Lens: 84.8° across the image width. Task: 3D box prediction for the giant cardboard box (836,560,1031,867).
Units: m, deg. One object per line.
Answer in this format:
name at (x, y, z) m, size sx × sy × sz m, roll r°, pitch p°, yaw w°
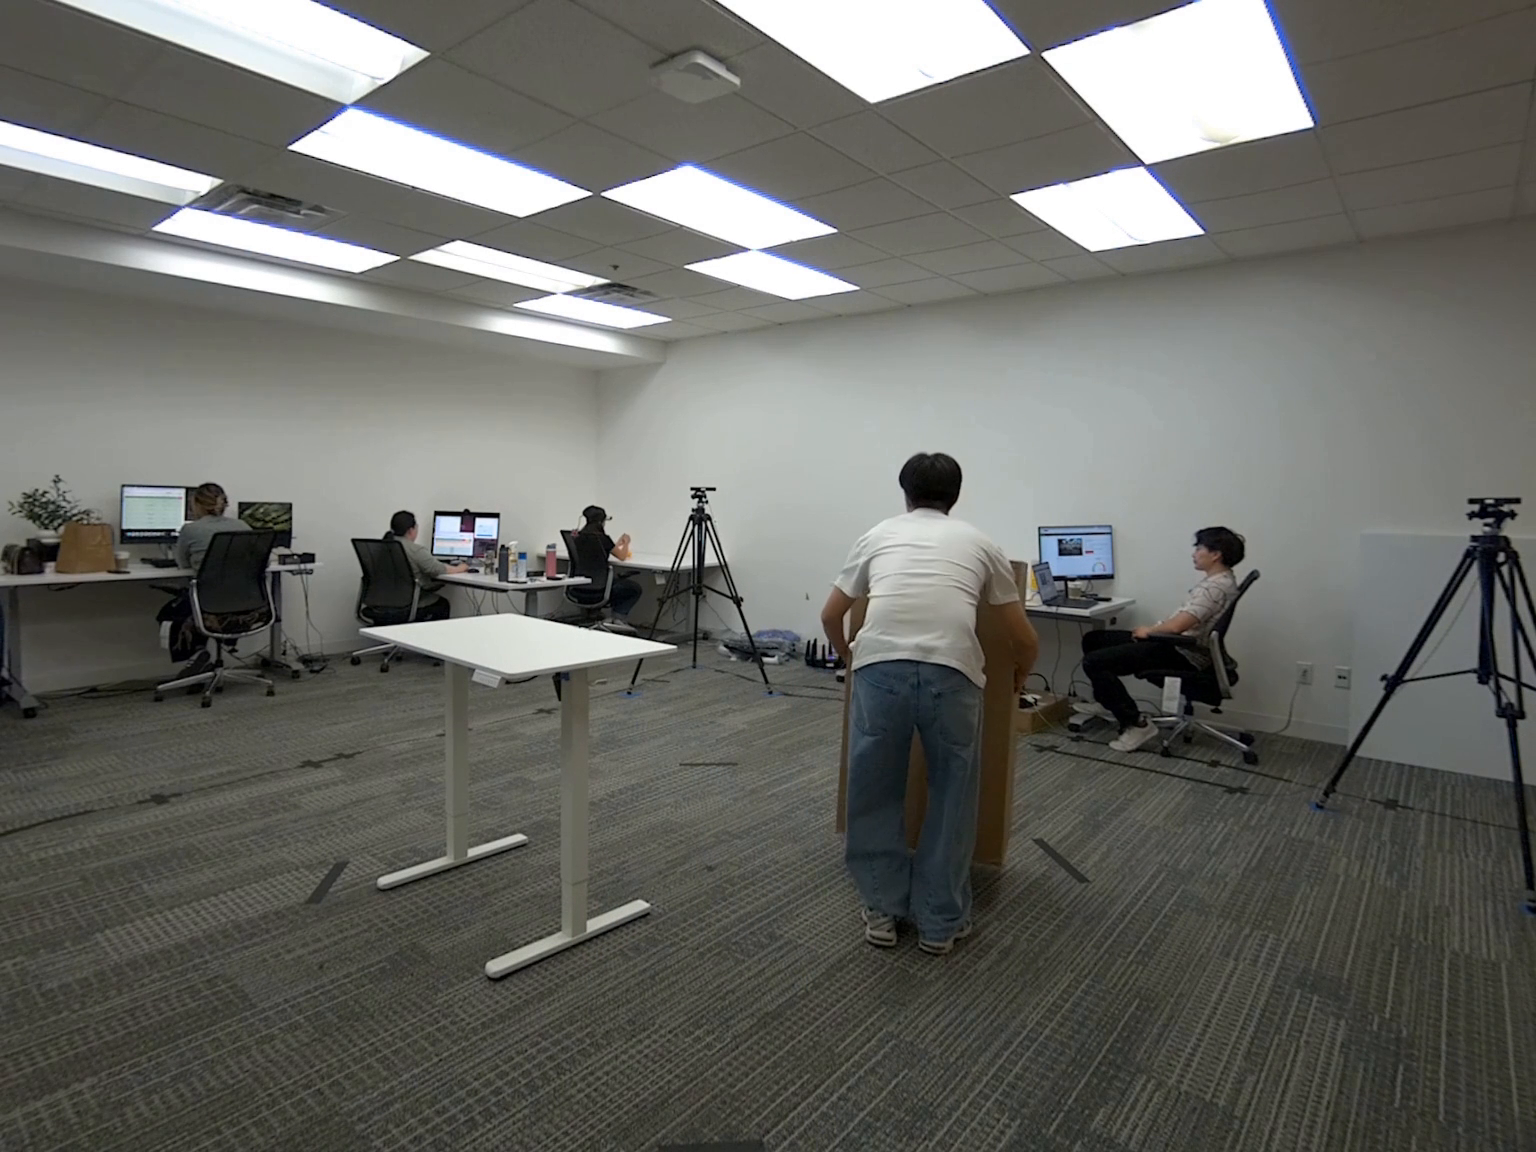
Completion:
giant cardboard box at (0.605, 0.422, 3.145) m, size 0.592 × 1.027 × 0.415 m, roll 4°, pitch -1°, yaw 23°
